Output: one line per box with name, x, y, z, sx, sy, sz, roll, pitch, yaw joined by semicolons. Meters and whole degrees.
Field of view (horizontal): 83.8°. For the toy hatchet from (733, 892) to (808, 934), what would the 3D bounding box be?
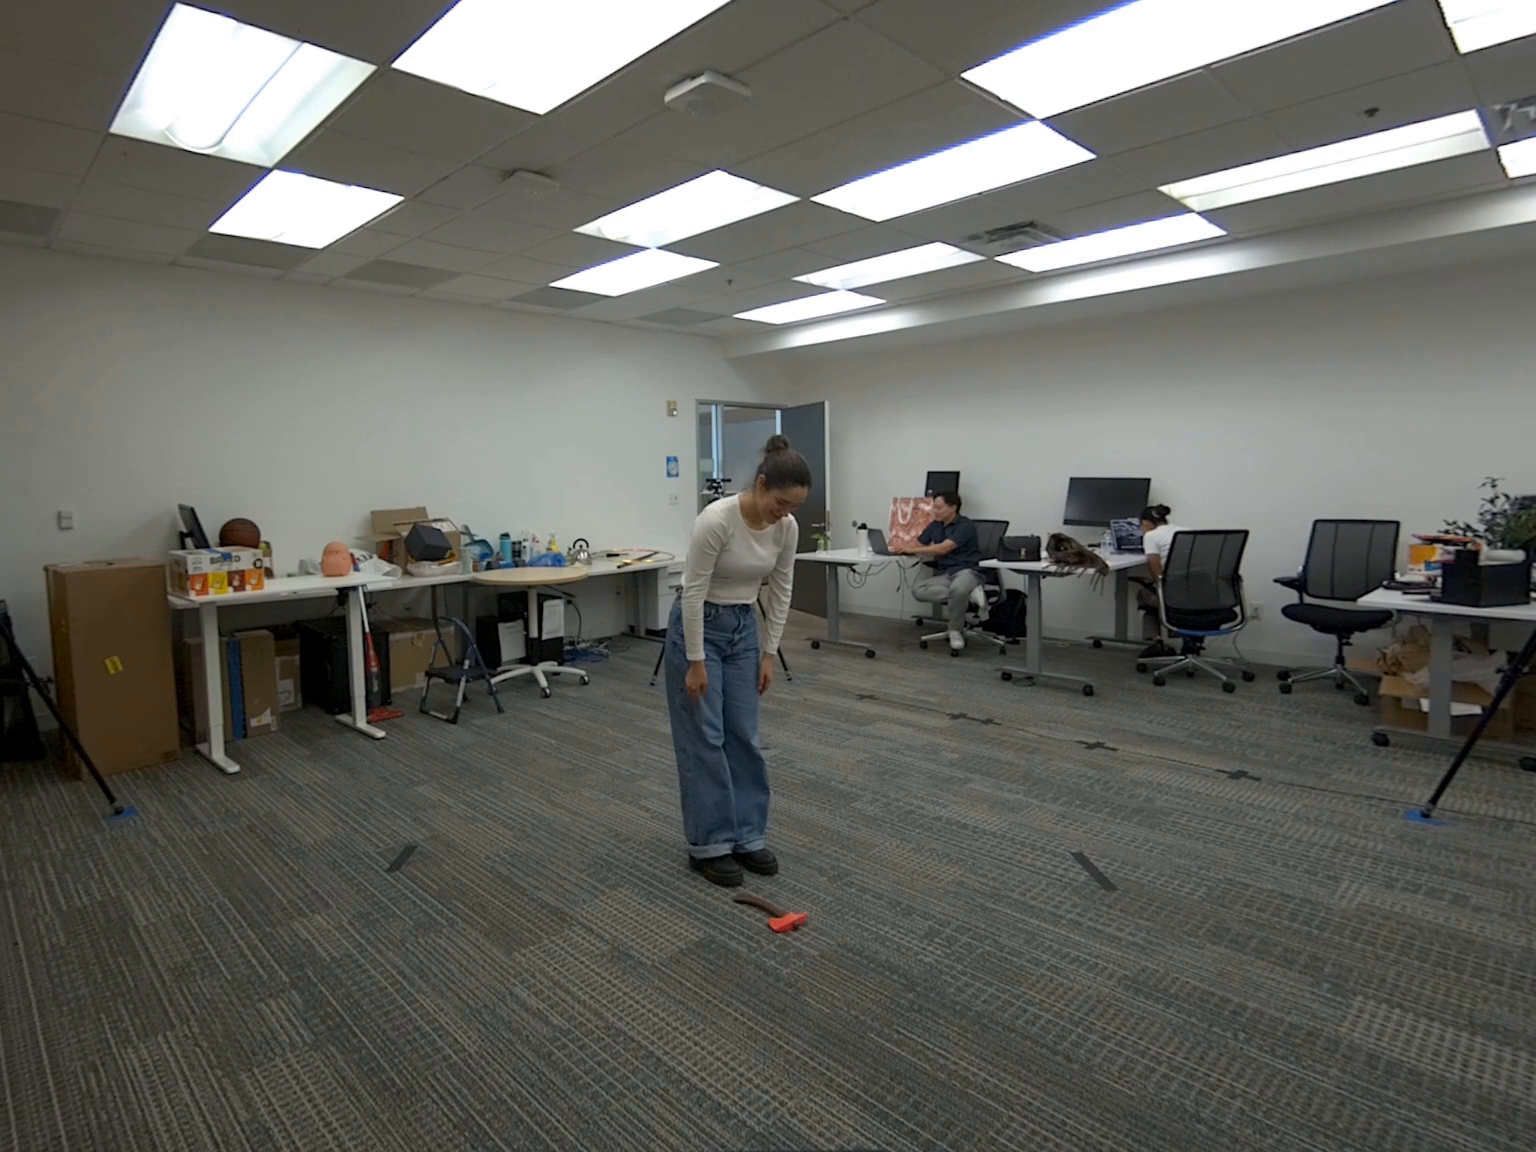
toy hatchet;-0.013;1.078;2.722;0.277;0.029;0.128;1;10;34
